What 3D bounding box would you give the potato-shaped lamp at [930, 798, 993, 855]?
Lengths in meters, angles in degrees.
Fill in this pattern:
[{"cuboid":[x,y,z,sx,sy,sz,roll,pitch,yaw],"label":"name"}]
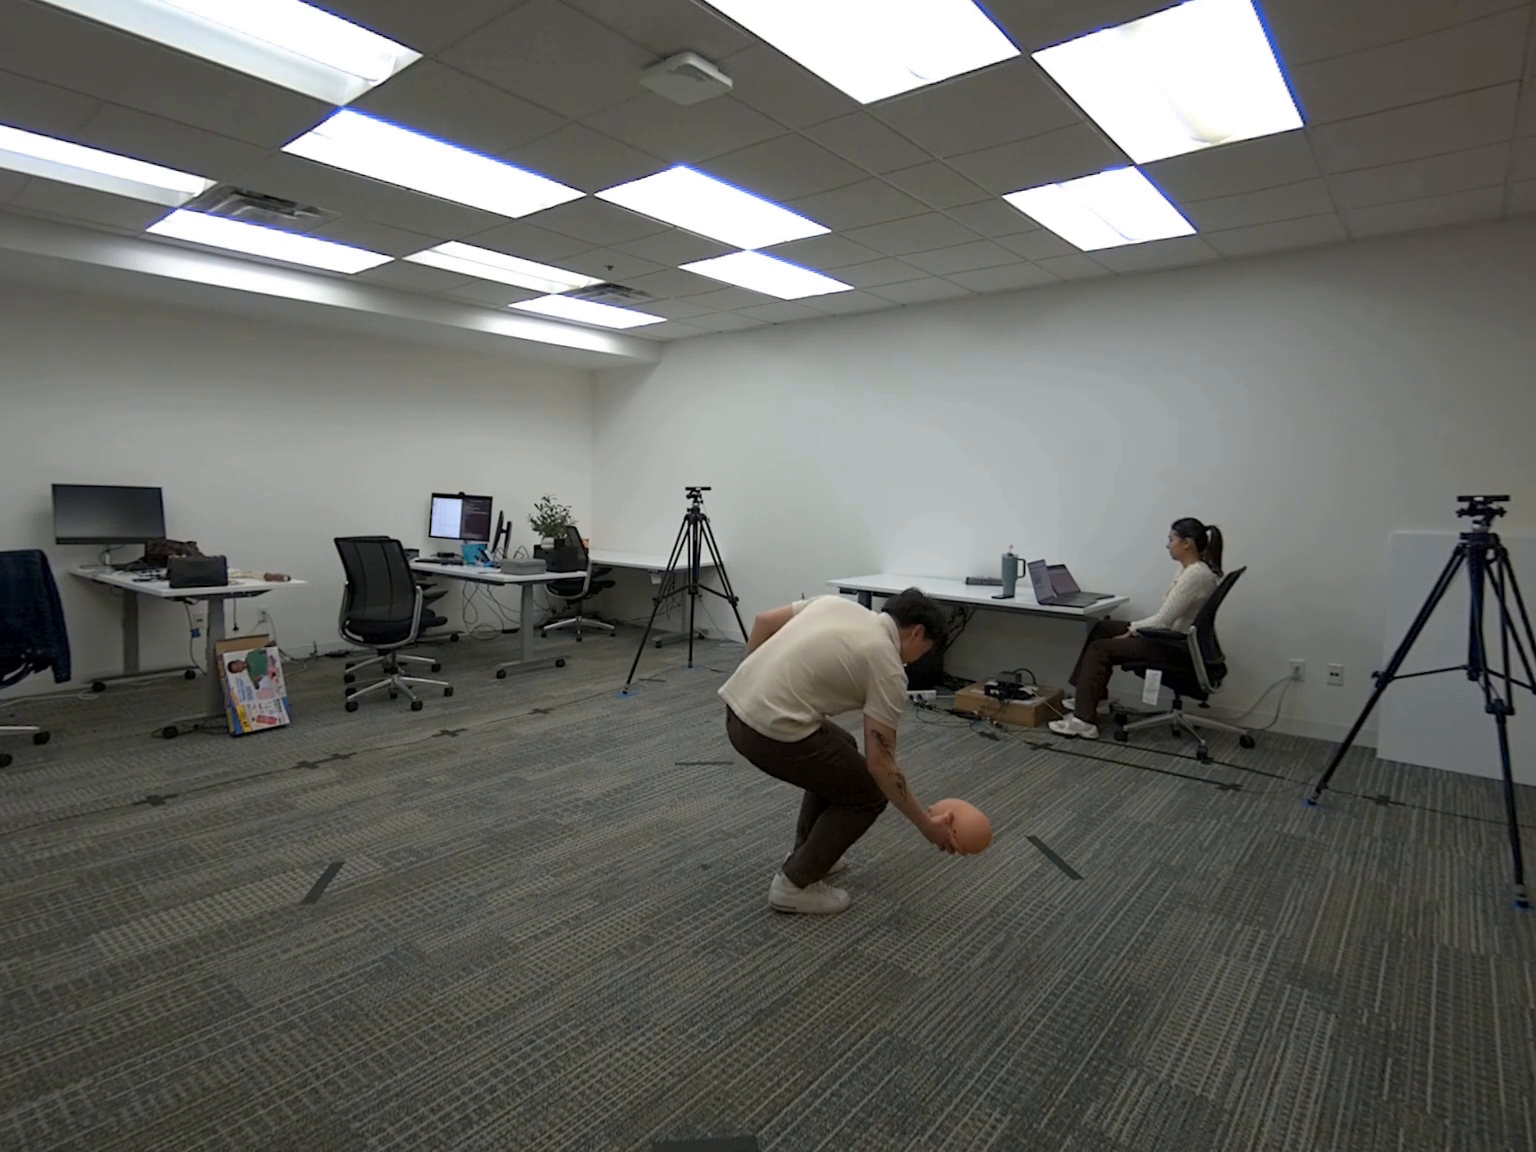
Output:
[{"cuboid":[0.623,0.821,2.776,0.168,0.164,0.203,-5,5,-21],"label":"potato-shaped lamp"}]
